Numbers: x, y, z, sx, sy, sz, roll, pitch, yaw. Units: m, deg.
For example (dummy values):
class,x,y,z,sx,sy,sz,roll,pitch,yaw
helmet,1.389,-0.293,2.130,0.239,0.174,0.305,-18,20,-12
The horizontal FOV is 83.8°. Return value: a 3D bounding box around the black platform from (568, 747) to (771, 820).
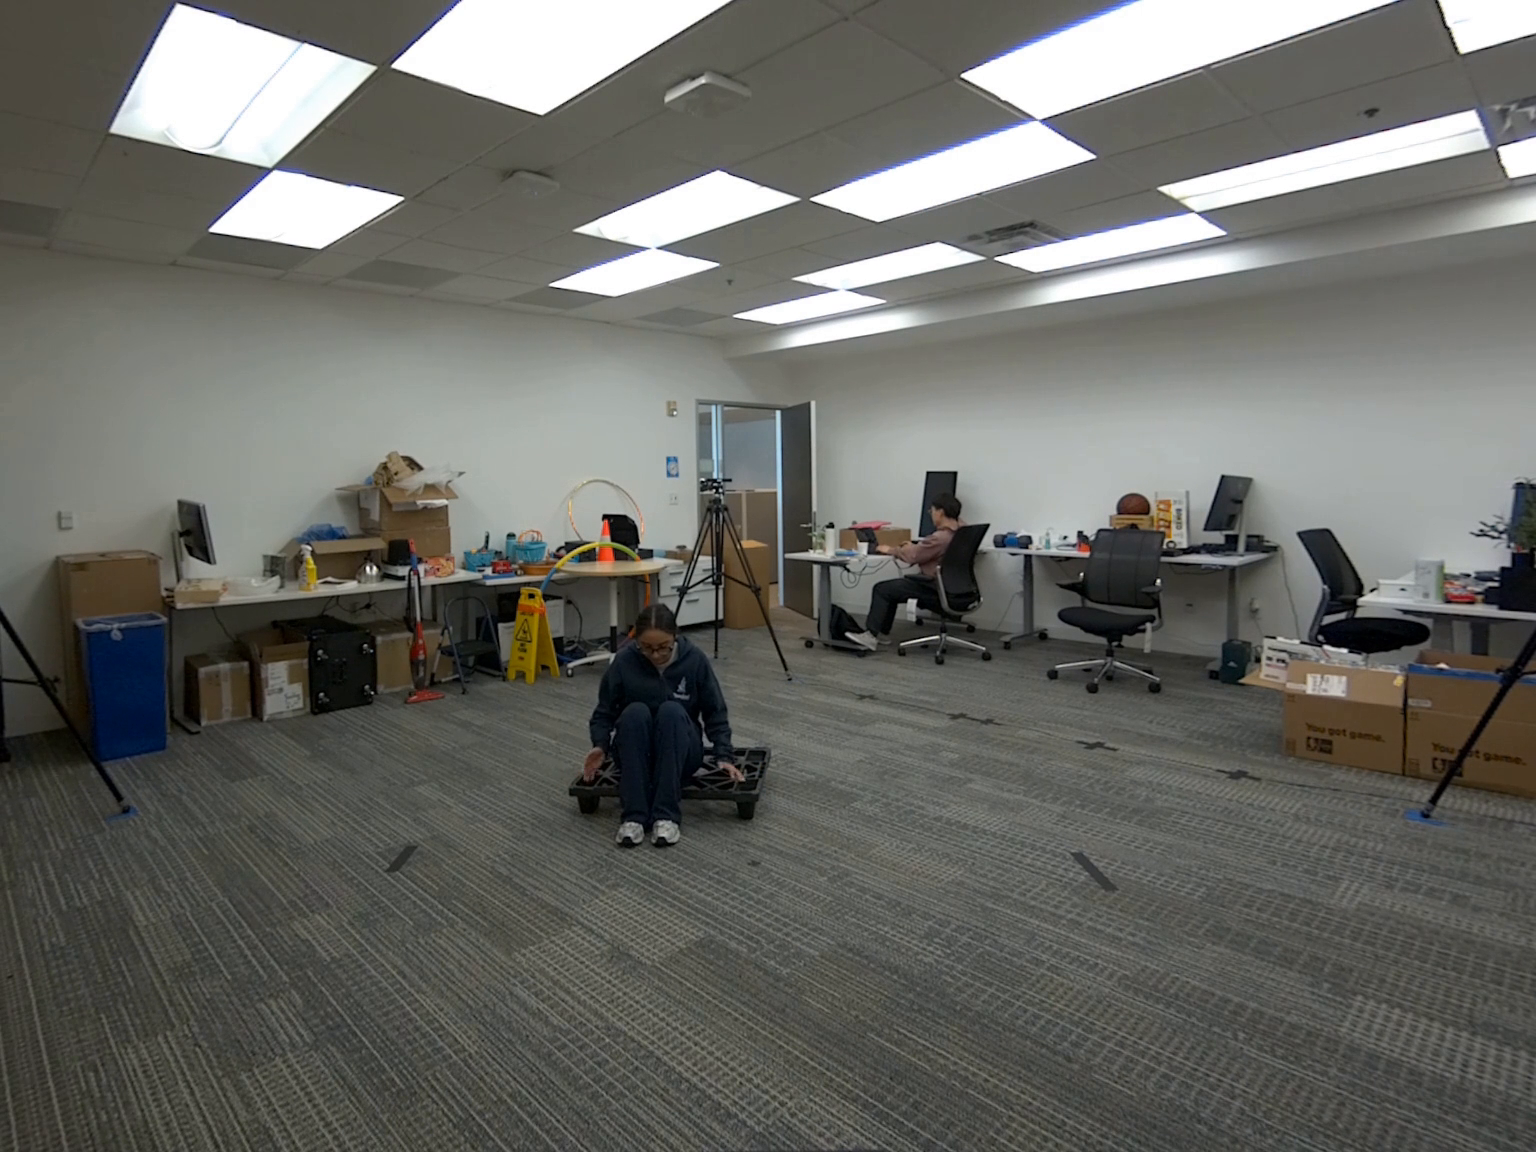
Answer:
class,x,y,z,sx,sy,sz,roll,pitch,yaw
black platform,-0.406,0.909,3.789,0.812,0.143,0.603,0,6,7
